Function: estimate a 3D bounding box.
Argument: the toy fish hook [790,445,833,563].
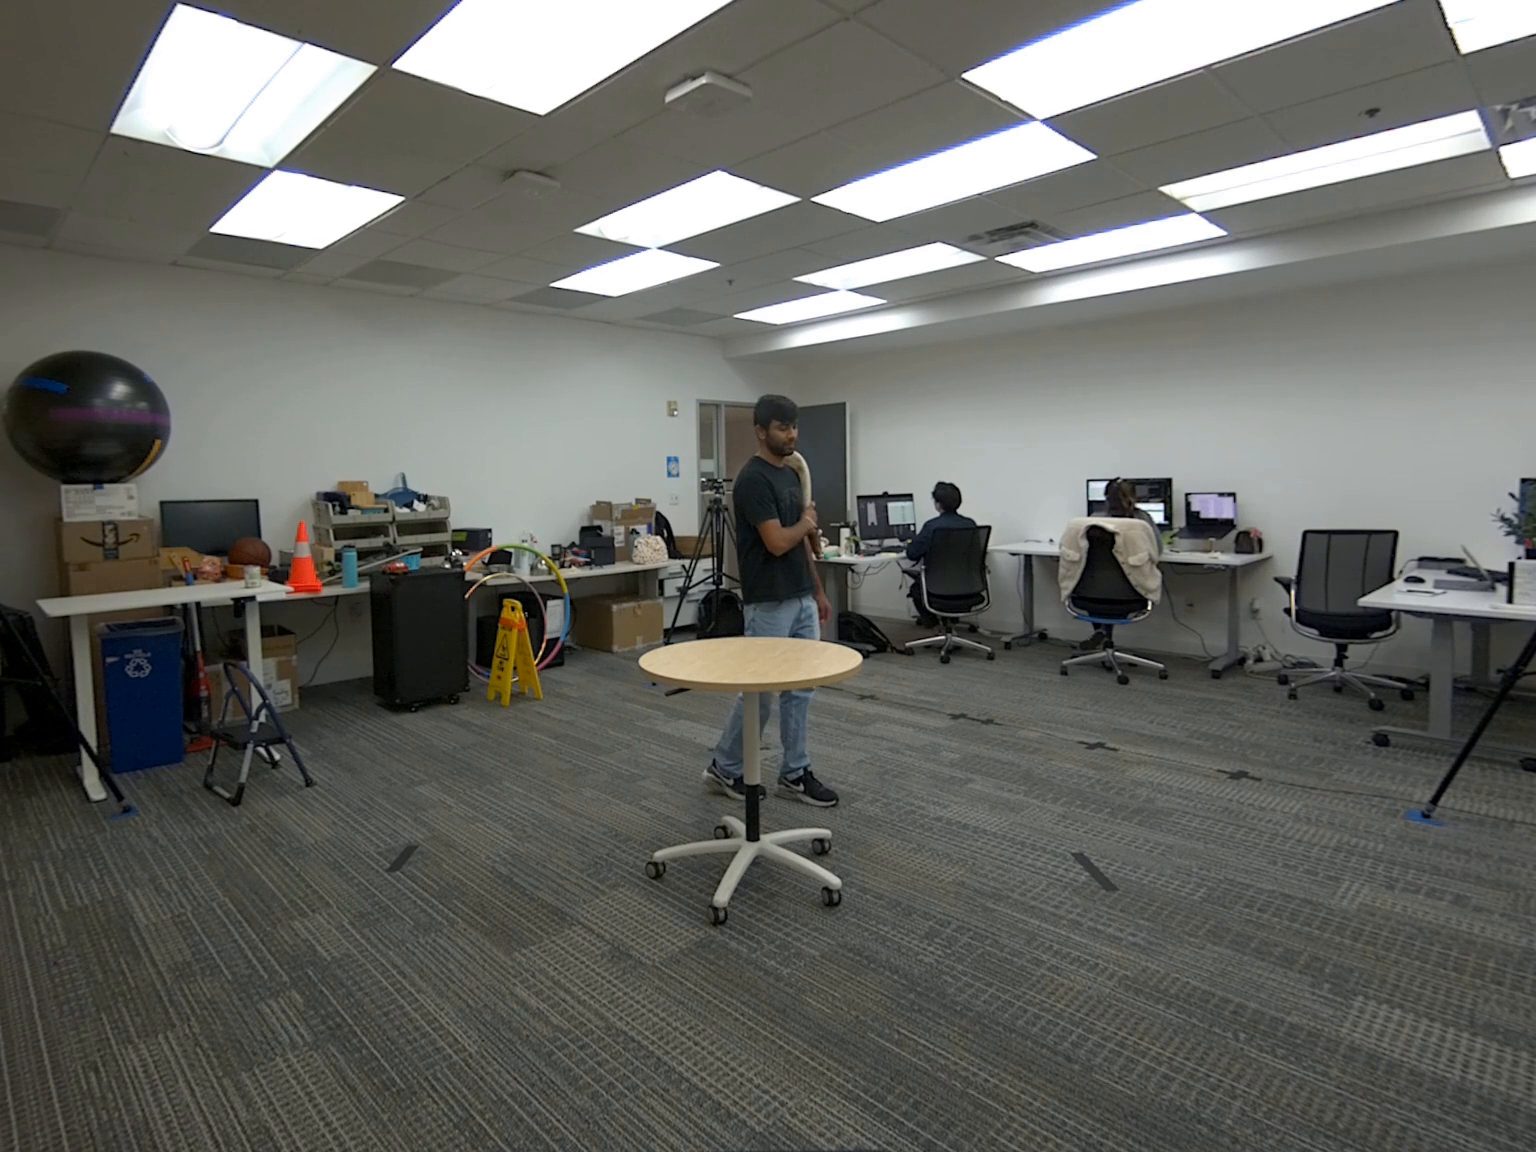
[{"bbox_3d":[0.119,-0.302,3.785,0.228,0.513,0.047,-22,-14,38],"label":"toy fish hook"}]
